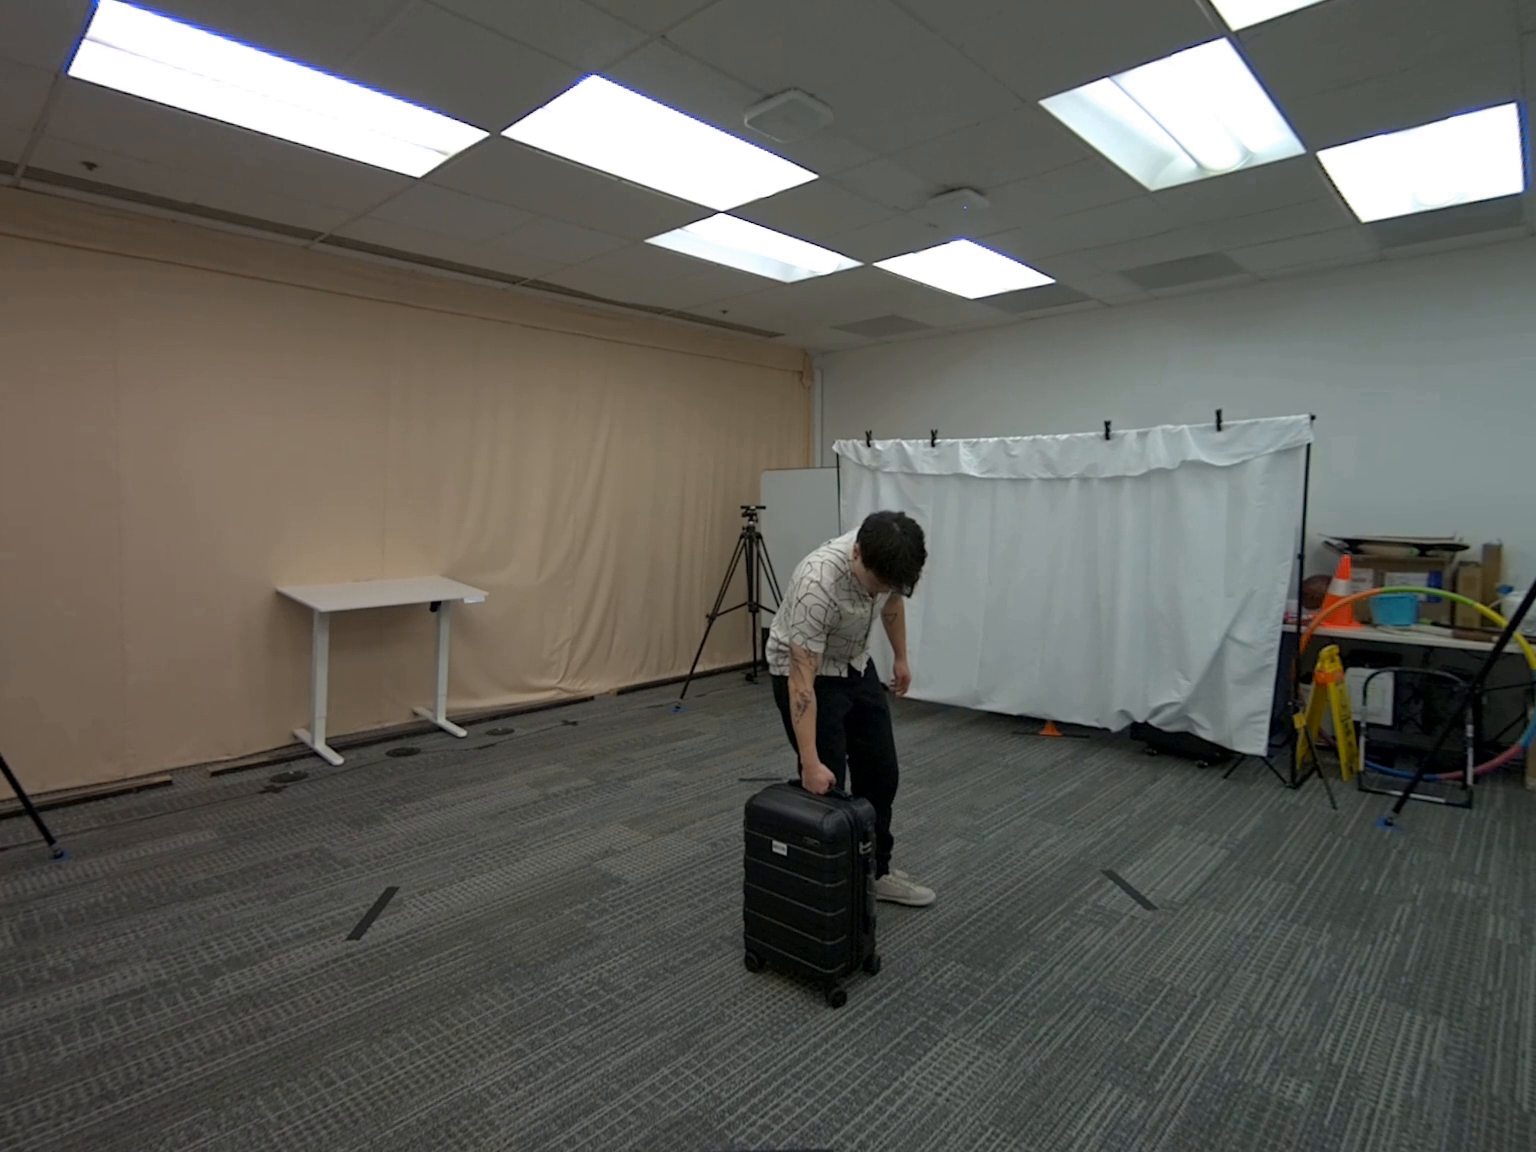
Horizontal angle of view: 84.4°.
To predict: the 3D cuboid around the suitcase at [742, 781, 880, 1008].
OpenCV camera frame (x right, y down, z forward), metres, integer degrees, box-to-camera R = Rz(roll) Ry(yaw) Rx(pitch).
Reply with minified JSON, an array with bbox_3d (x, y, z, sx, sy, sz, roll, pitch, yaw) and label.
[{"bbox_3d":[0.128,0.906,2.500,0.388,0.548,0.241,2,5,42],"label":"suitcase"}]
